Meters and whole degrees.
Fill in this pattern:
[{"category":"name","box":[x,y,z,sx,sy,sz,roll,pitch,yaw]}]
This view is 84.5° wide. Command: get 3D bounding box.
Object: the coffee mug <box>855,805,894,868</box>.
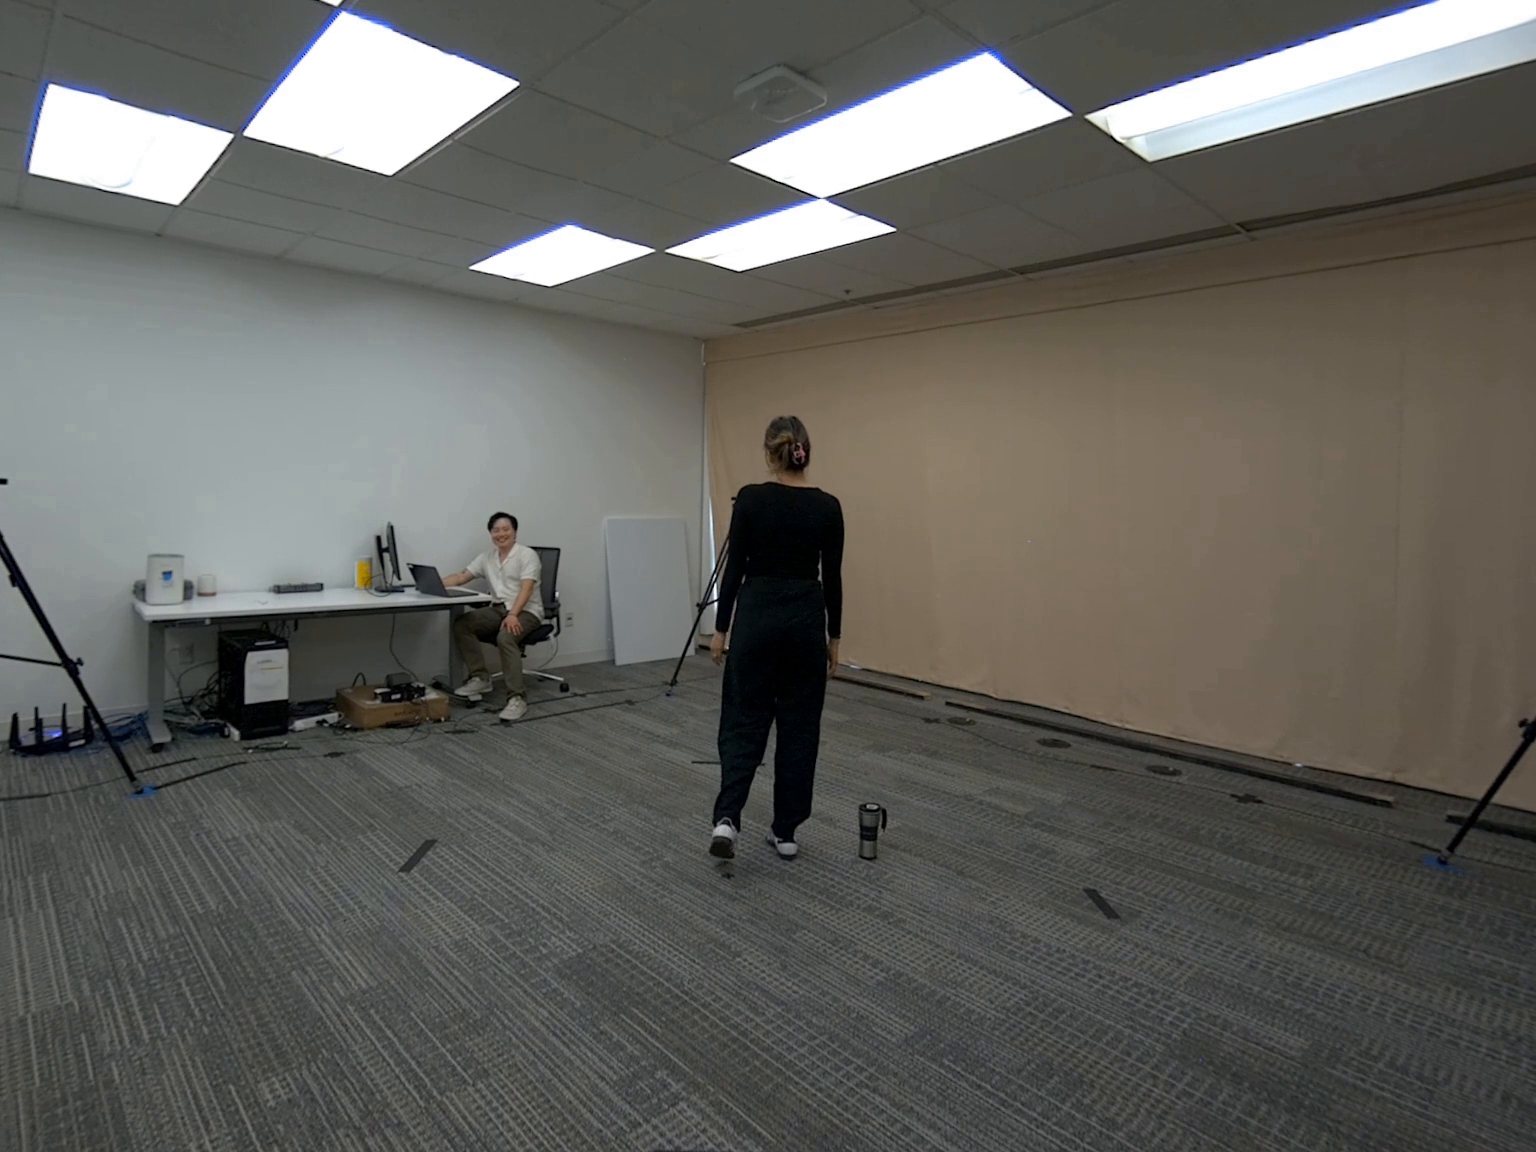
[{"category":"coffee mug","box":[0.411,1.011,3.296,0.121,0.203,0.088,-2,0,-6]}]
